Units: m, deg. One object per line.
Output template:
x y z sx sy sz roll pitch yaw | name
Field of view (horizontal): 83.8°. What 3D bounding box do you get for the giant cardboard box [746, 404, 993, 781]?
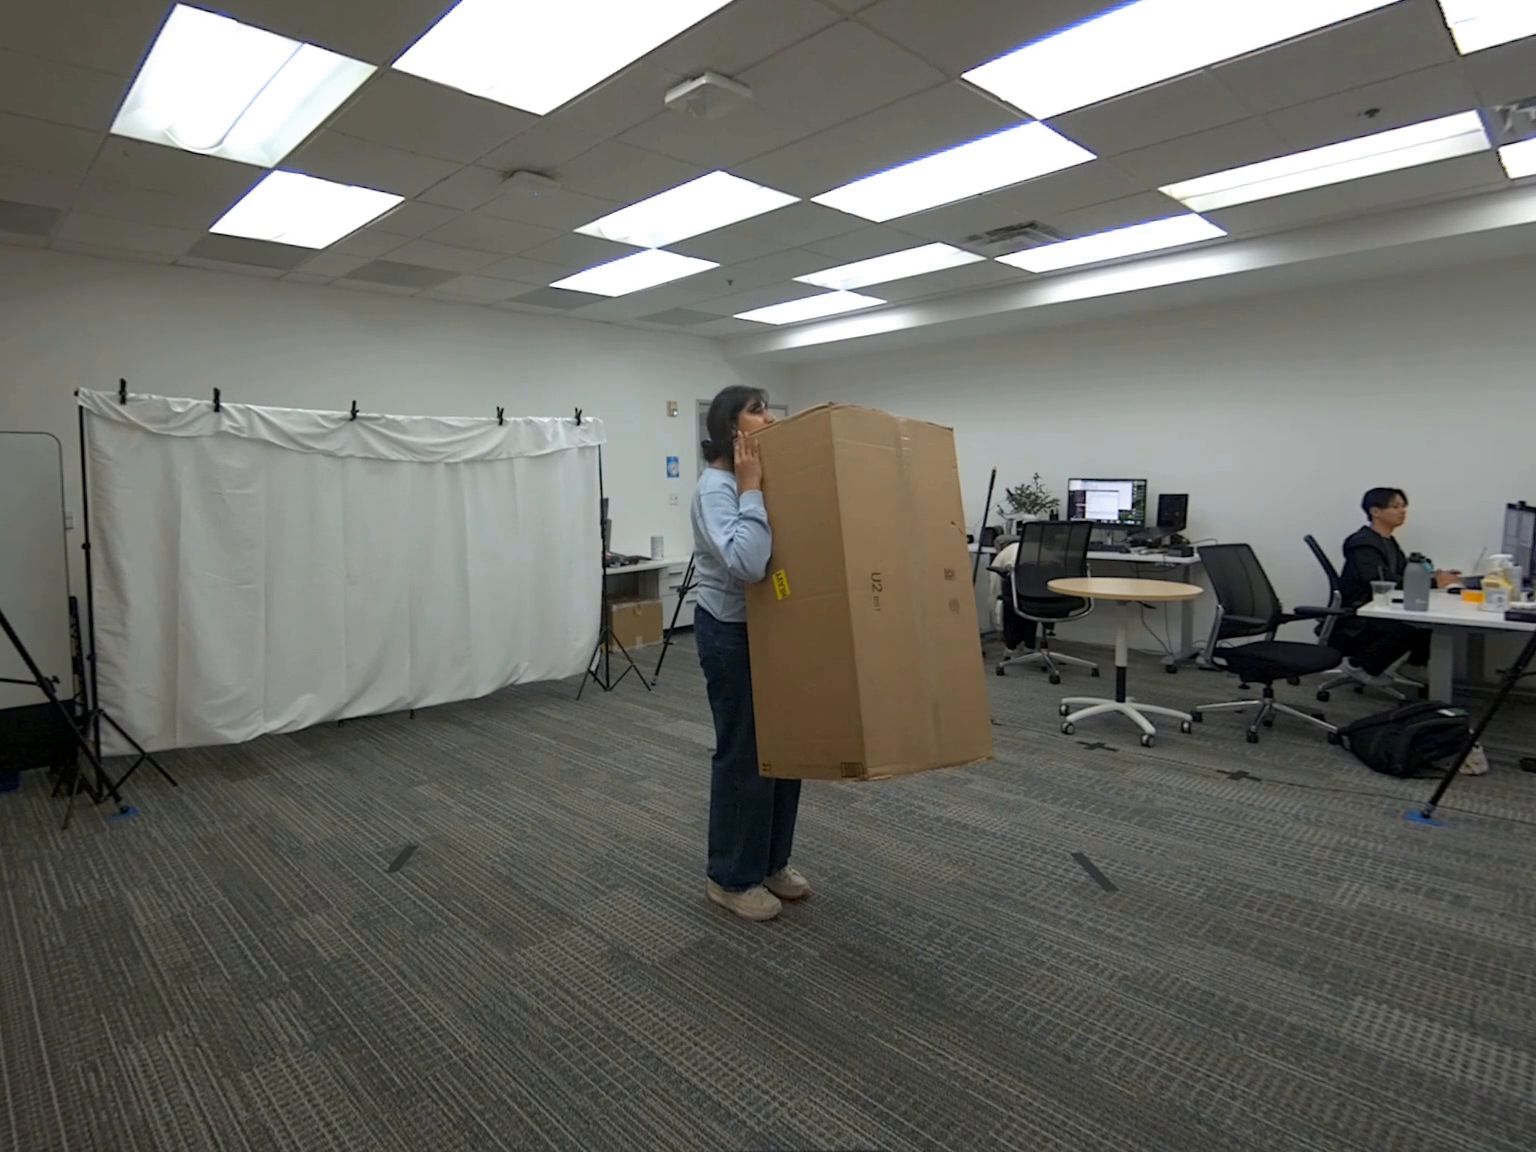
0.288 0.063 2.600 0.567 1.037 0.456 3 -12 -40 | giant cardboard box
